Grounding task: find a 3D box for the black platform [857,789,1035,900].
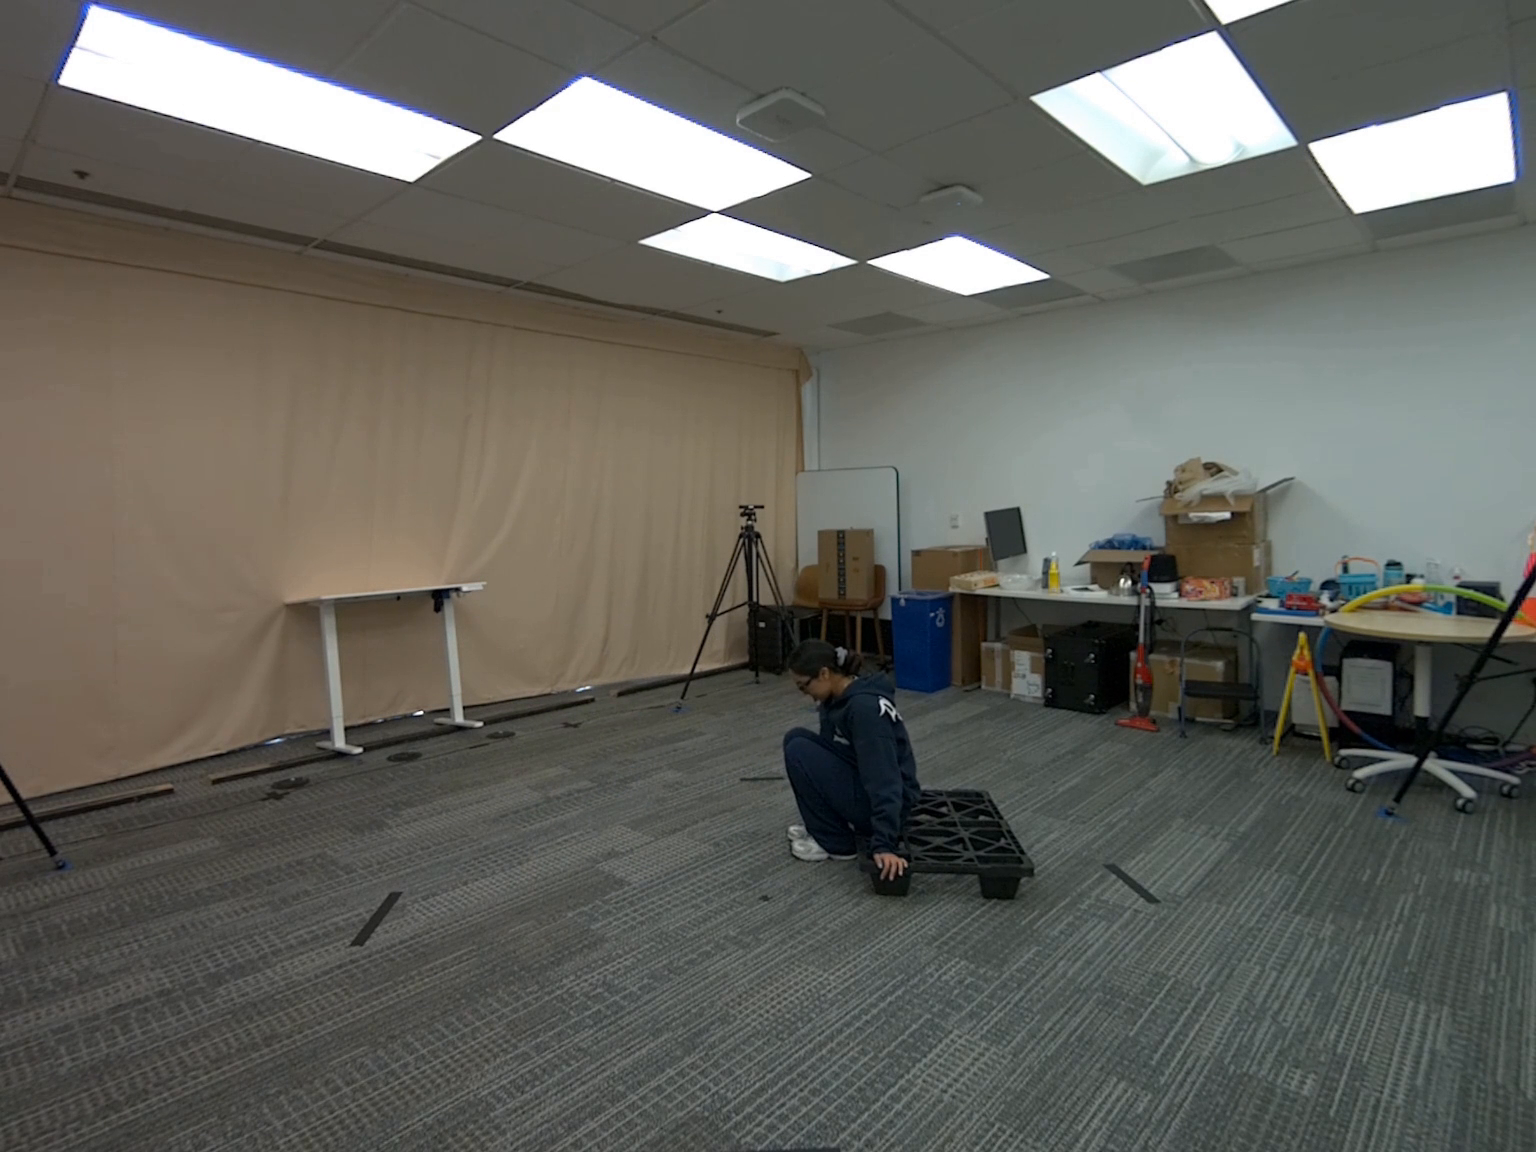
[{"bbox_3d":[0.654,1.031,3.309,0.608,0.143,0.804,1,5,4],"label":"black platform"}]
